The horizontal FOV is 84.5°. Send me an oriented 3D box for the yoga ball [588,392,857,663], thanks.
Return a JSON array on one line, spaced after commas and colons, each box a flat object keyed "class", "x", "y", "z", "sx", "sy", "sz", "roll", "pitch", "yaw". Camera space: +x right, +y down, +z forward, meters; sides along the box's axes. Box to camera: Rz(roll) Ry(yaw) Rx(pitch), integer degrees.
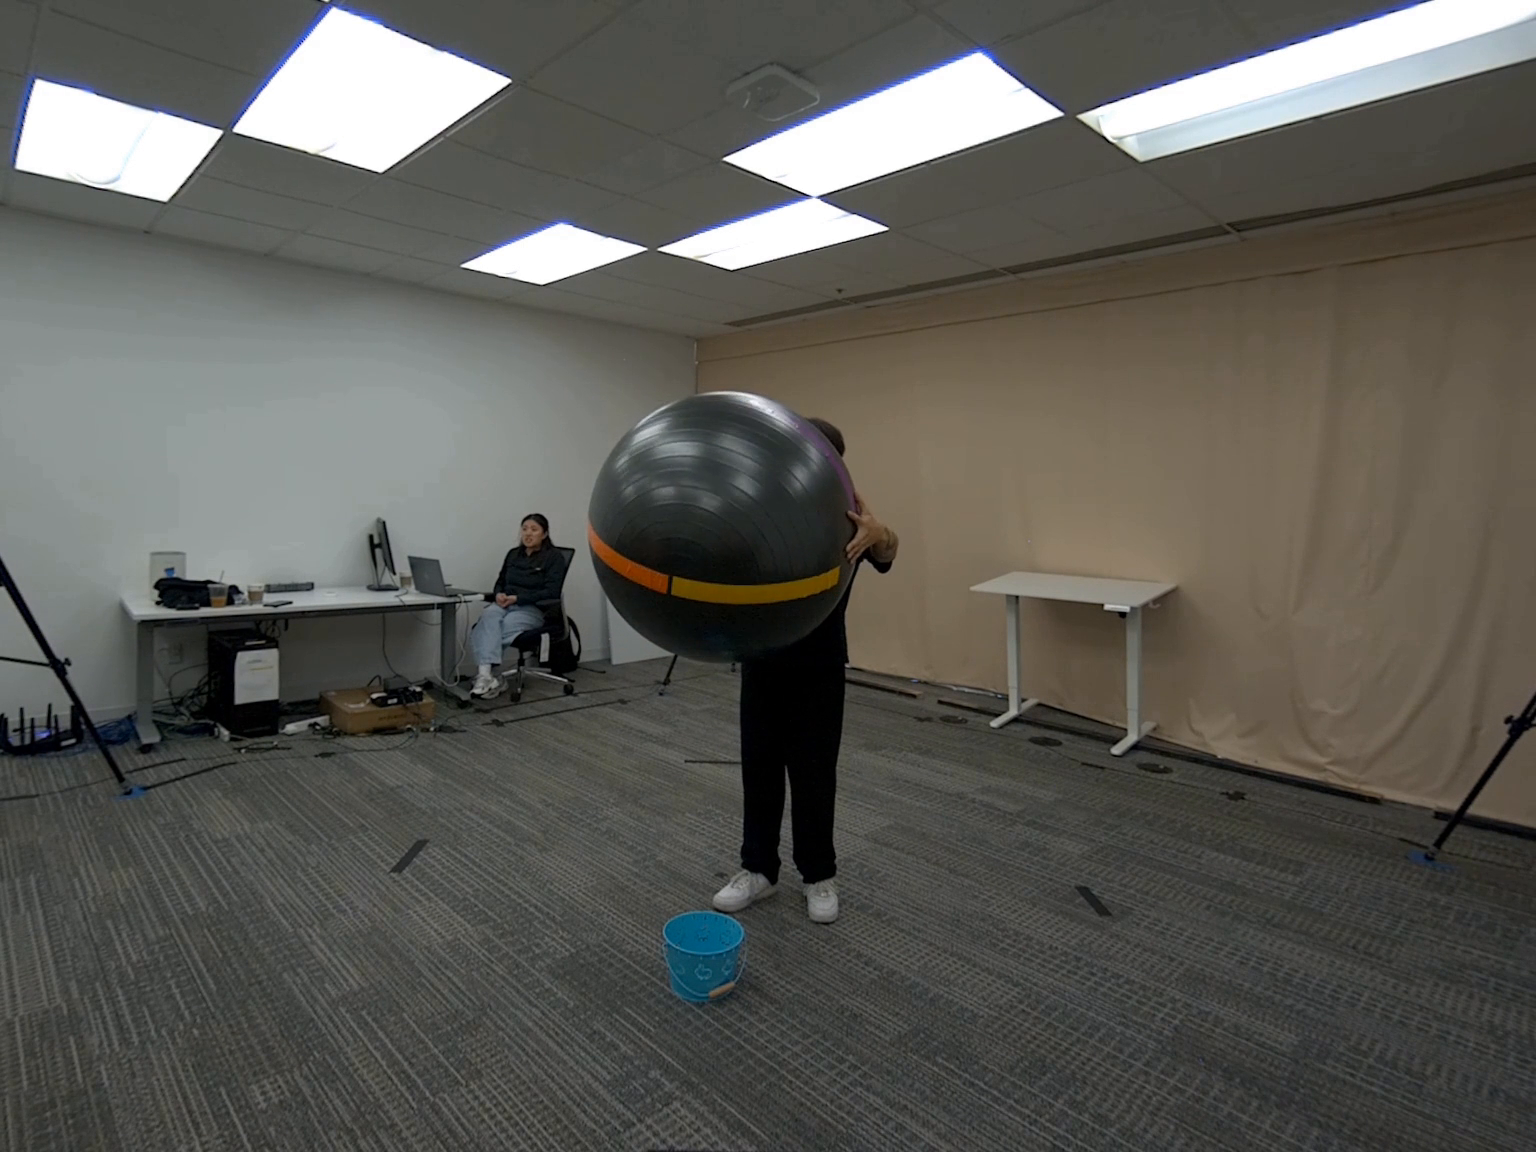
[{"class": "yoga ball", "x": -0.126, "y": -0.132, "z": 2.367, "sx": 0.757, "sy": 0.756, "sz": 0.761, "roll": 1, "pitch": 4, "yaw": -1}]
